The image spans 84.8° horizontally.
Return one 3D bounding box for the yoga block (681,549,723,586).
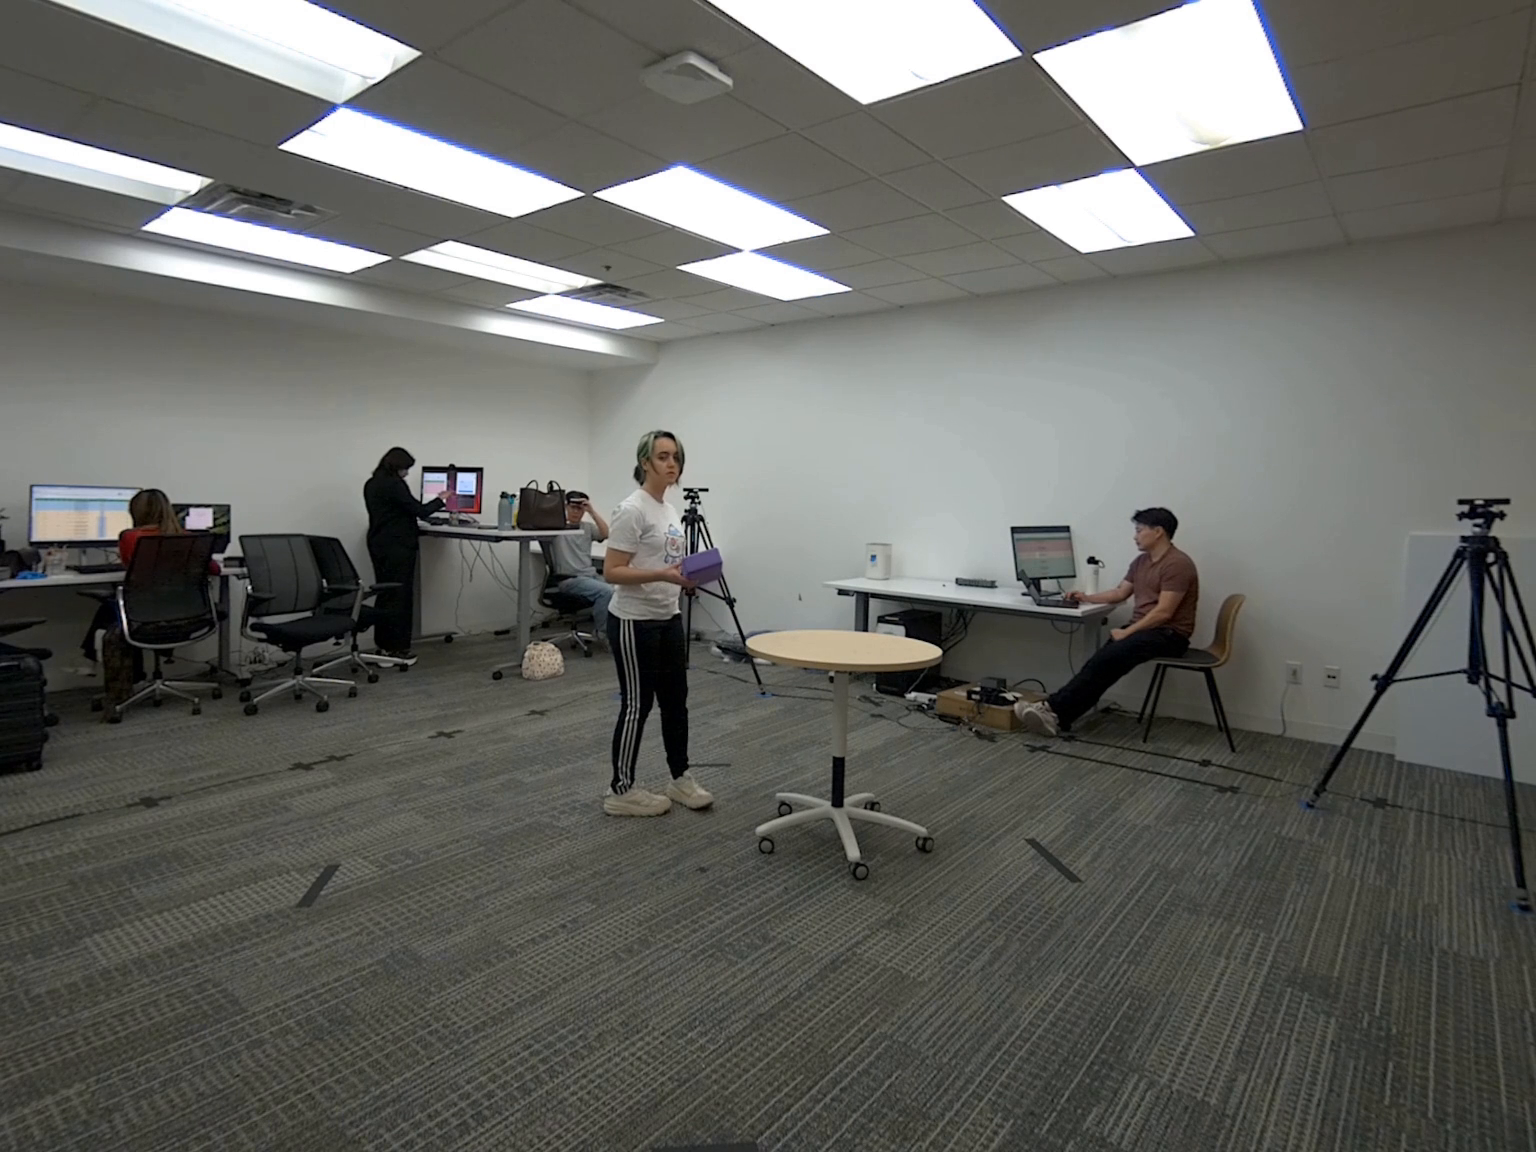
[{"bbox_3d":[-0.276,-0.035,3.386,0.148,0.078,0.226,-19,-12,-8],"label":"yoga block"}]
